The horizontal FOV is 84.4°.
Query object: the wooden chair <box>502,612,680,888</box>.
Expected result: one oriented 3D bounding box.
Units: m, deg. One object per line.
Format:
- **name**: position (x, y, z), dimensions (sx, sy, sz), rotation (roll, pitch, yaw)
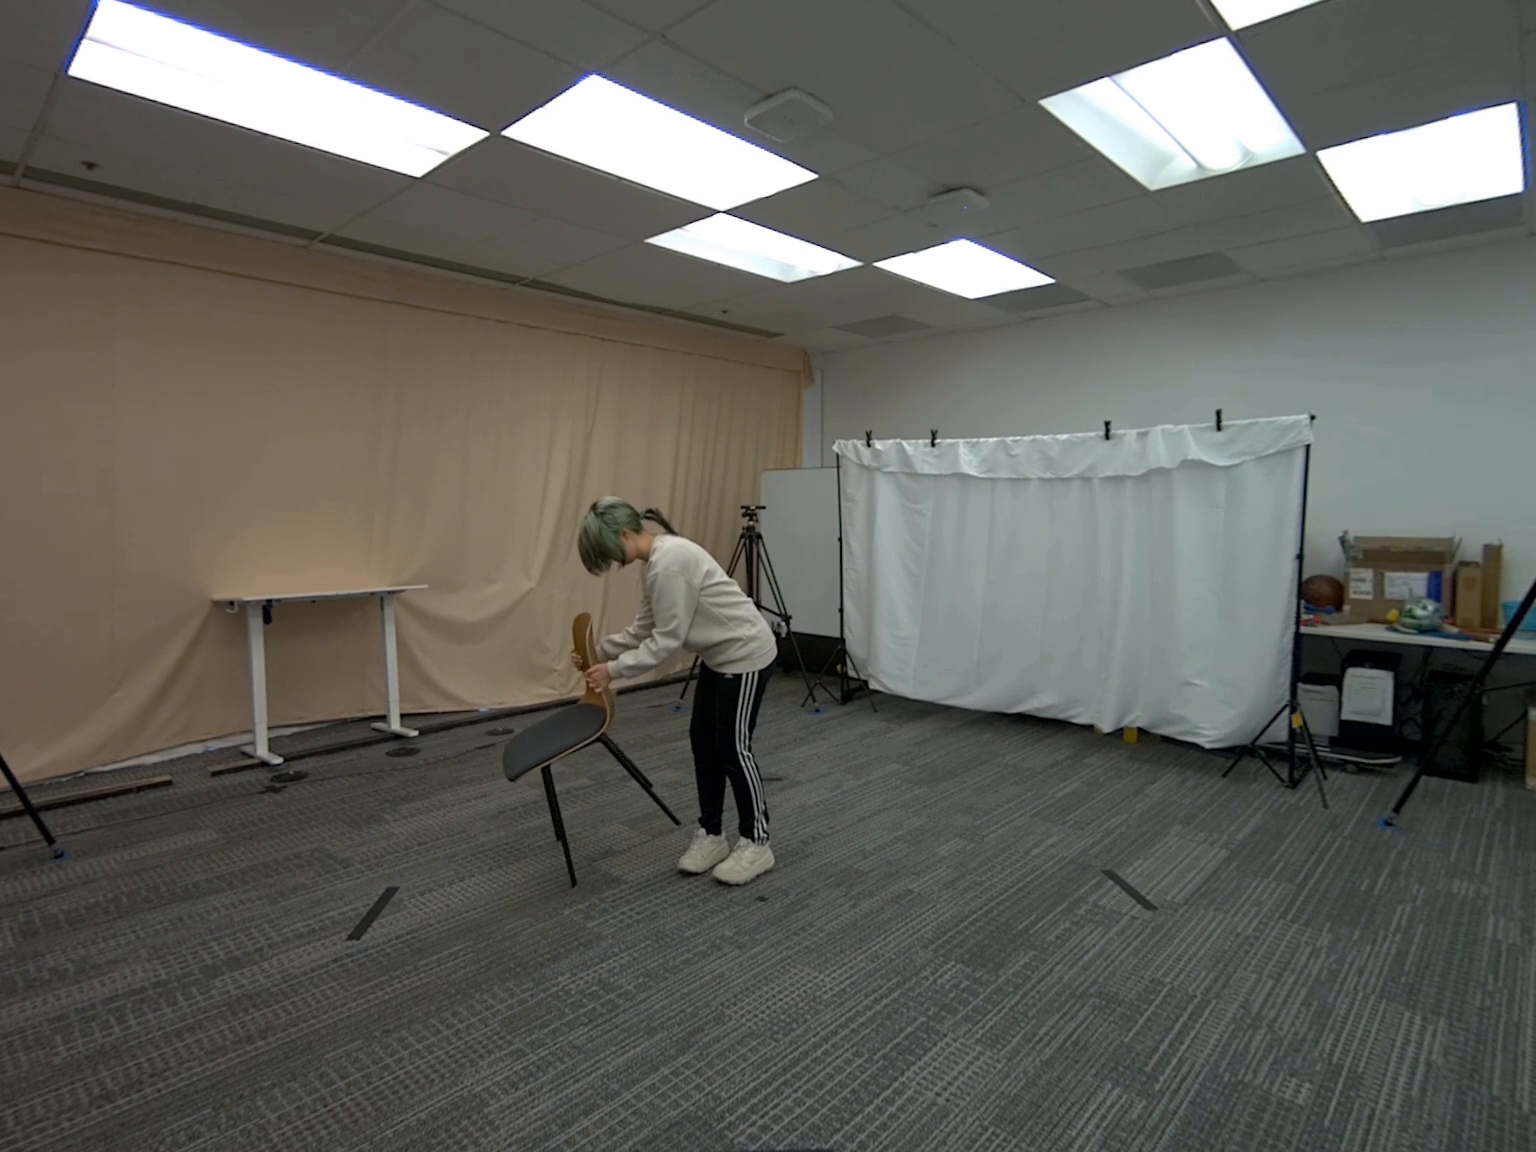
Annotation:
- **wooden chair**: position (-0.775, 0.648, 3.268), dimensions (0.517, 0.869, 0.489), rotation (-22, 11, -17)
